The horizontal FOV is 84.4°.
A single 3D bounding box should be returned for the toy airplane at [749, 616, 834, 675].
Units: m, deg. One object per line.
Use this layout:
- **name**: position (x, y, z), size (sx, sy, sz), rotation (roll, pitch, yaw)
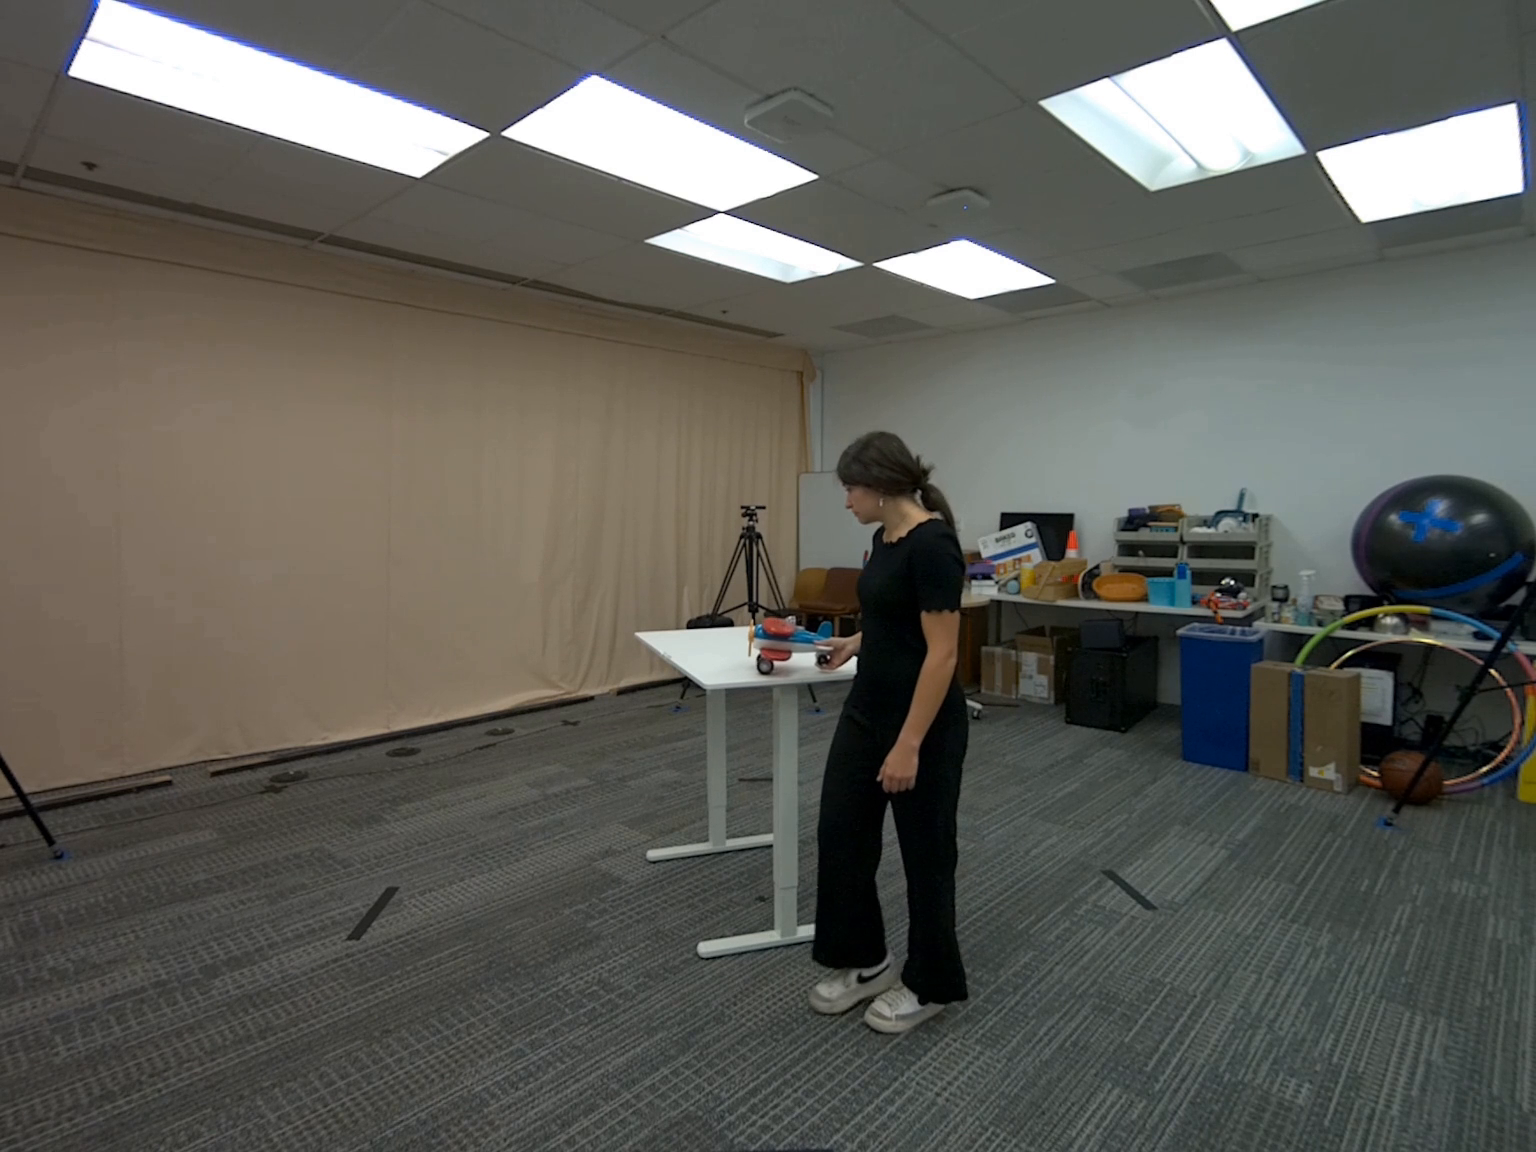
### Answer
- **toy airplane**: position (0.072, 0.210, 2.610), size (0.253, 0.156, 0.257), rotation (-10, 5, -26)
